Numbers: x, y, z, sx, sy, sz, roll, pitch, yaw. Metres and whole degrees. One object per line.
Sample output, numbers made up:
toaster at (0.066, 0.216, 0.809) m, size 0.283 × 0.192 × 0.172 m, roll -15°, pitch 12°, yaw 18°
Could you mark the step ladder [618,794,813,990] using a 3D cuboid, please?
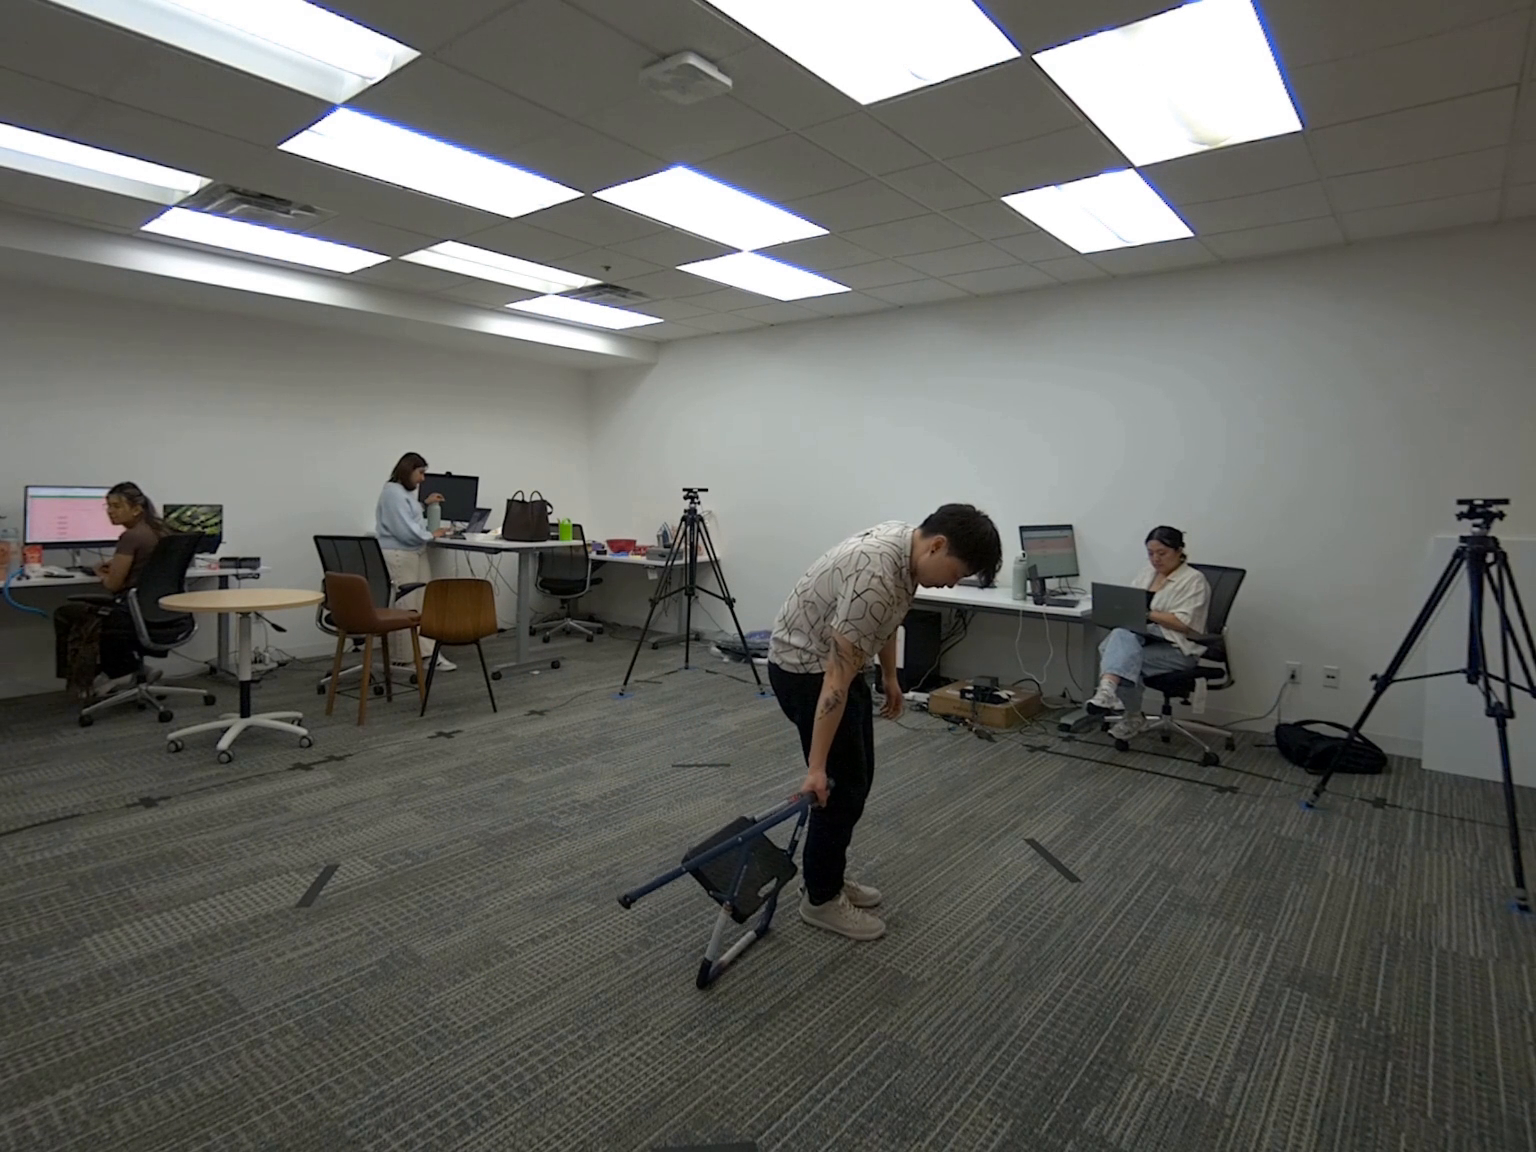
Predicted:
step ladder at (-0.076, 0.796, 2.495) m, size 0.359 × 0.603 × 0.420 m, roll 40°, pitch 20°, yaw 20°
